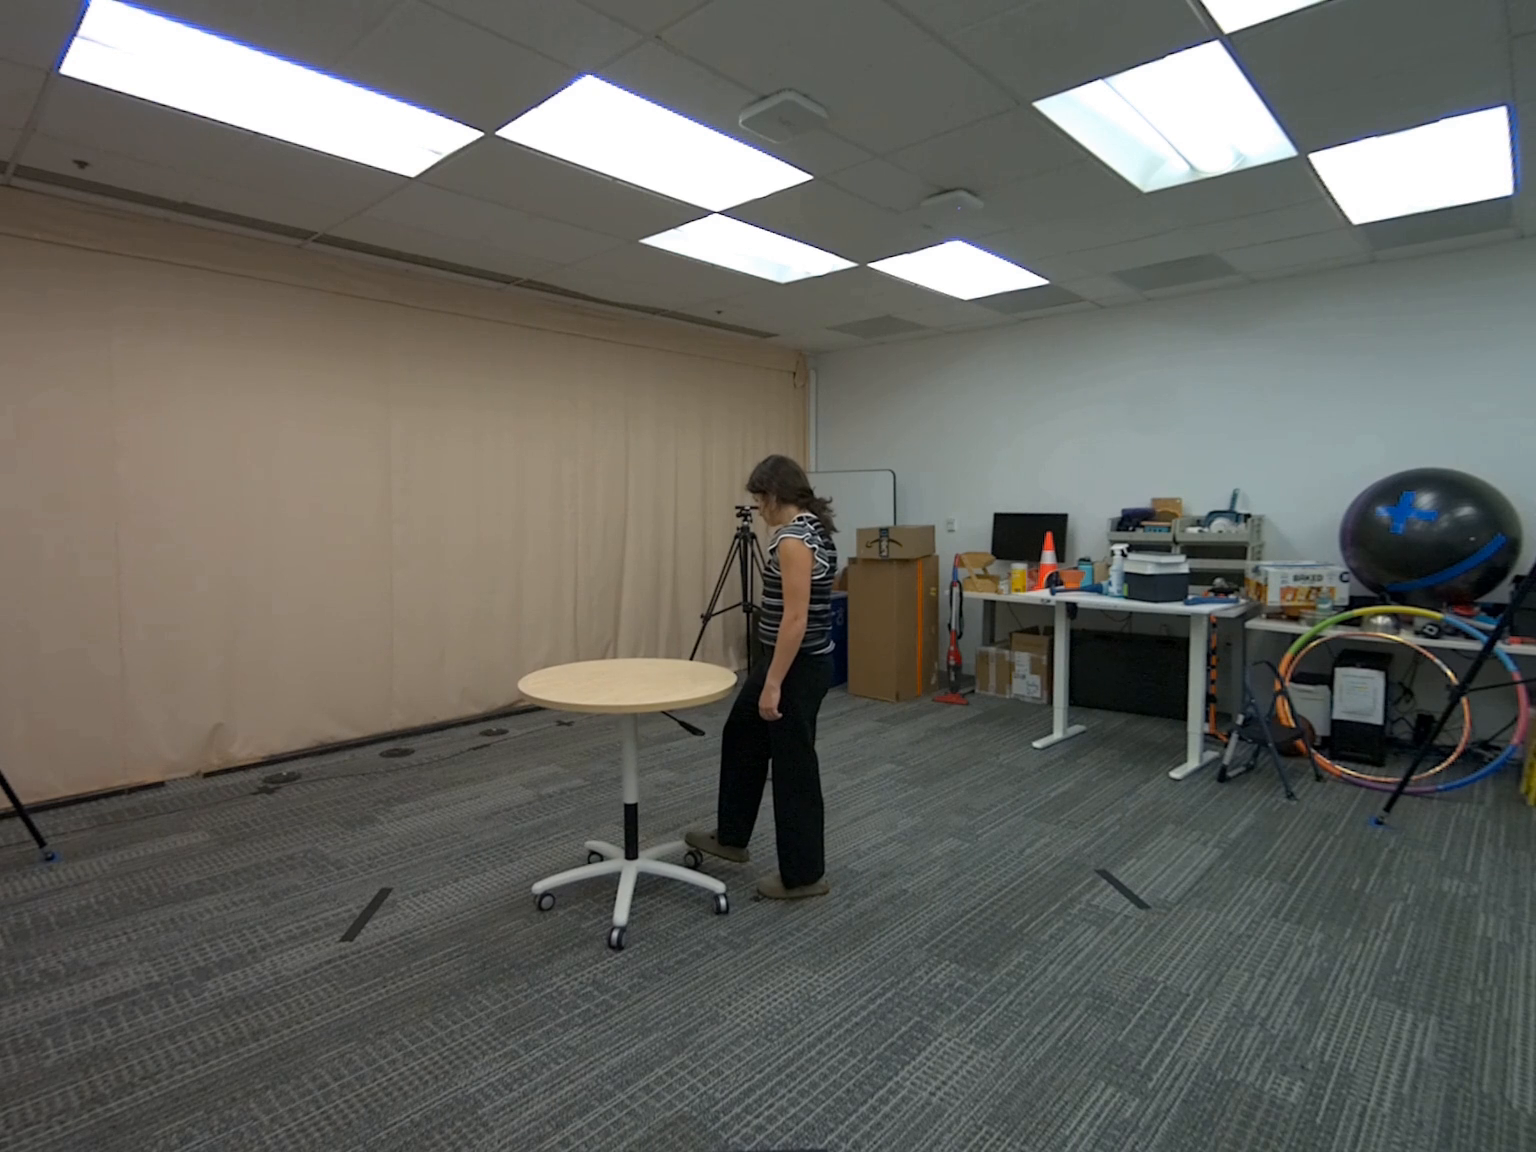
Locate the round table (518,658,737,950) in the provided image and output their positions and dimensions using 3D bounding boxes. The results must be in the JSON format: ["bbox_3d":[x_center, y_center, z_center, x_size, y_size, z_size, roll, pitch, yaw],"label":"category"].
[{"bbox_3d":[-0.492,0.753,3.006,0.784,0.785,0.788,0,4,-2],"label":"round table"}]
